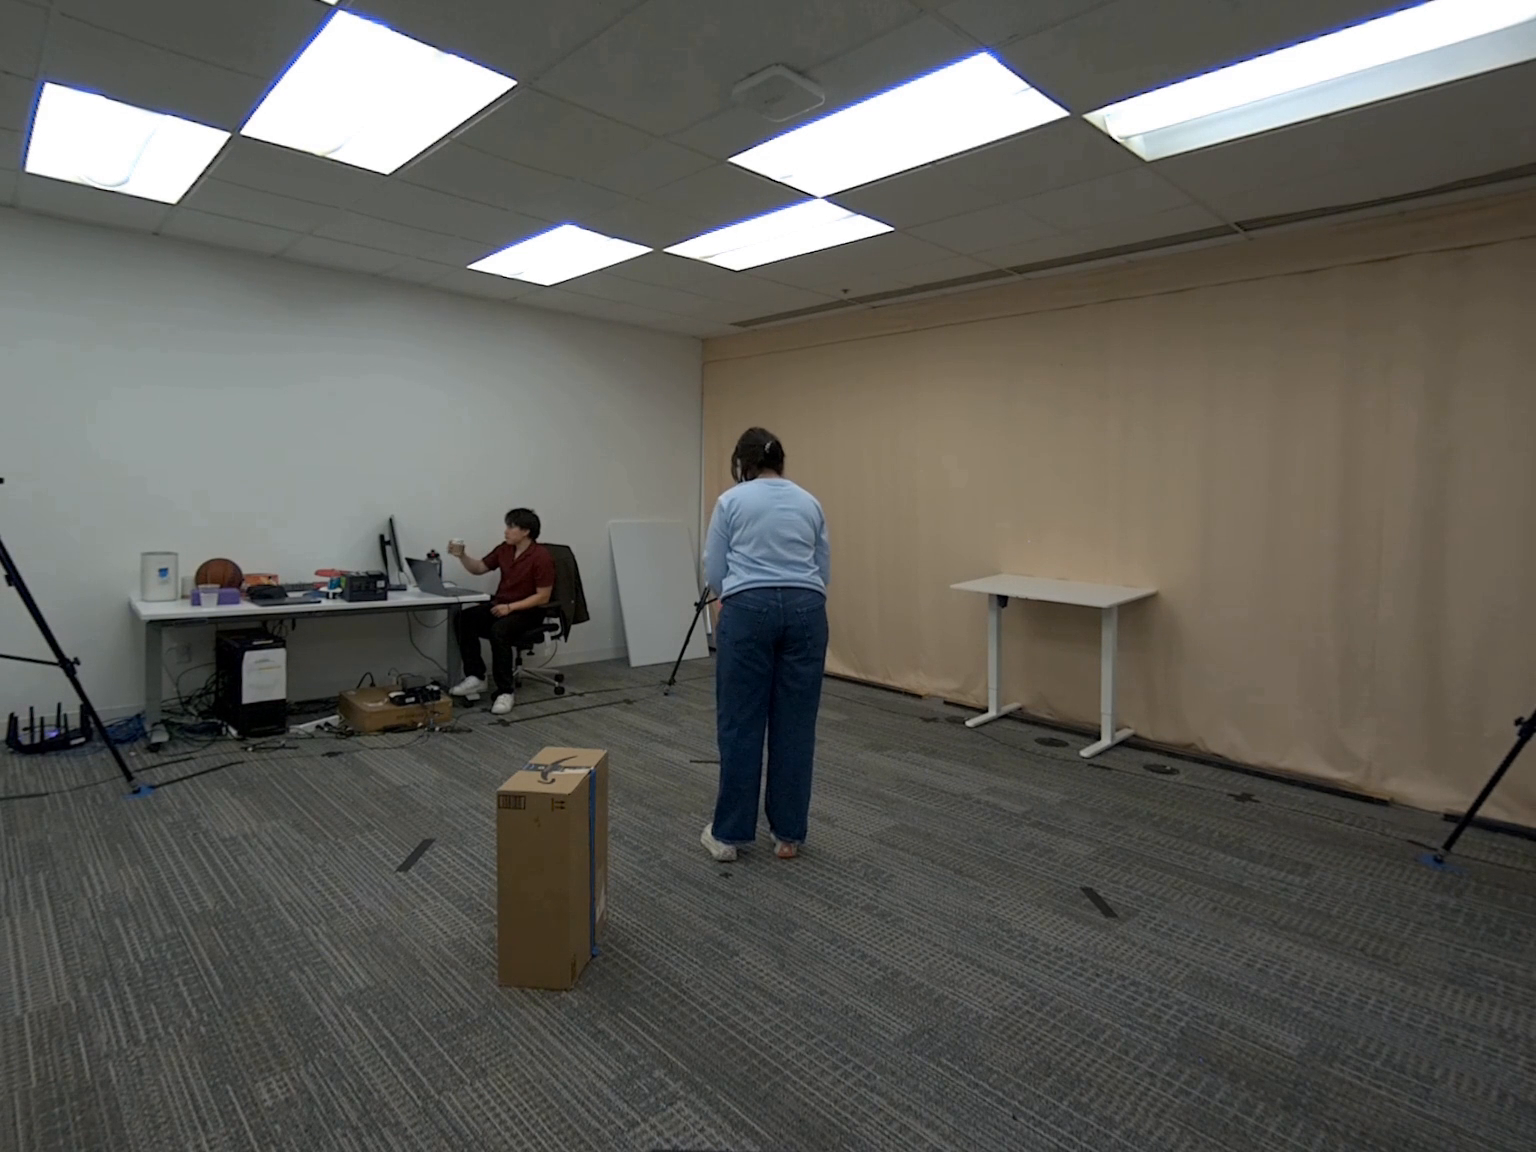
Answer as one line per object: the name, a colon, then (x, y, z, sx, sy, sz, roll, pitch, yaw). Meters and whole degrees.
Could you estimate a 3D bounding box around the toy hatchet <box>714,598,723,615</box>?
toy hatchet: (-0.148, 0.122, 3.687, 0.029, 0.131, 0.277, 40, -9, -32)
